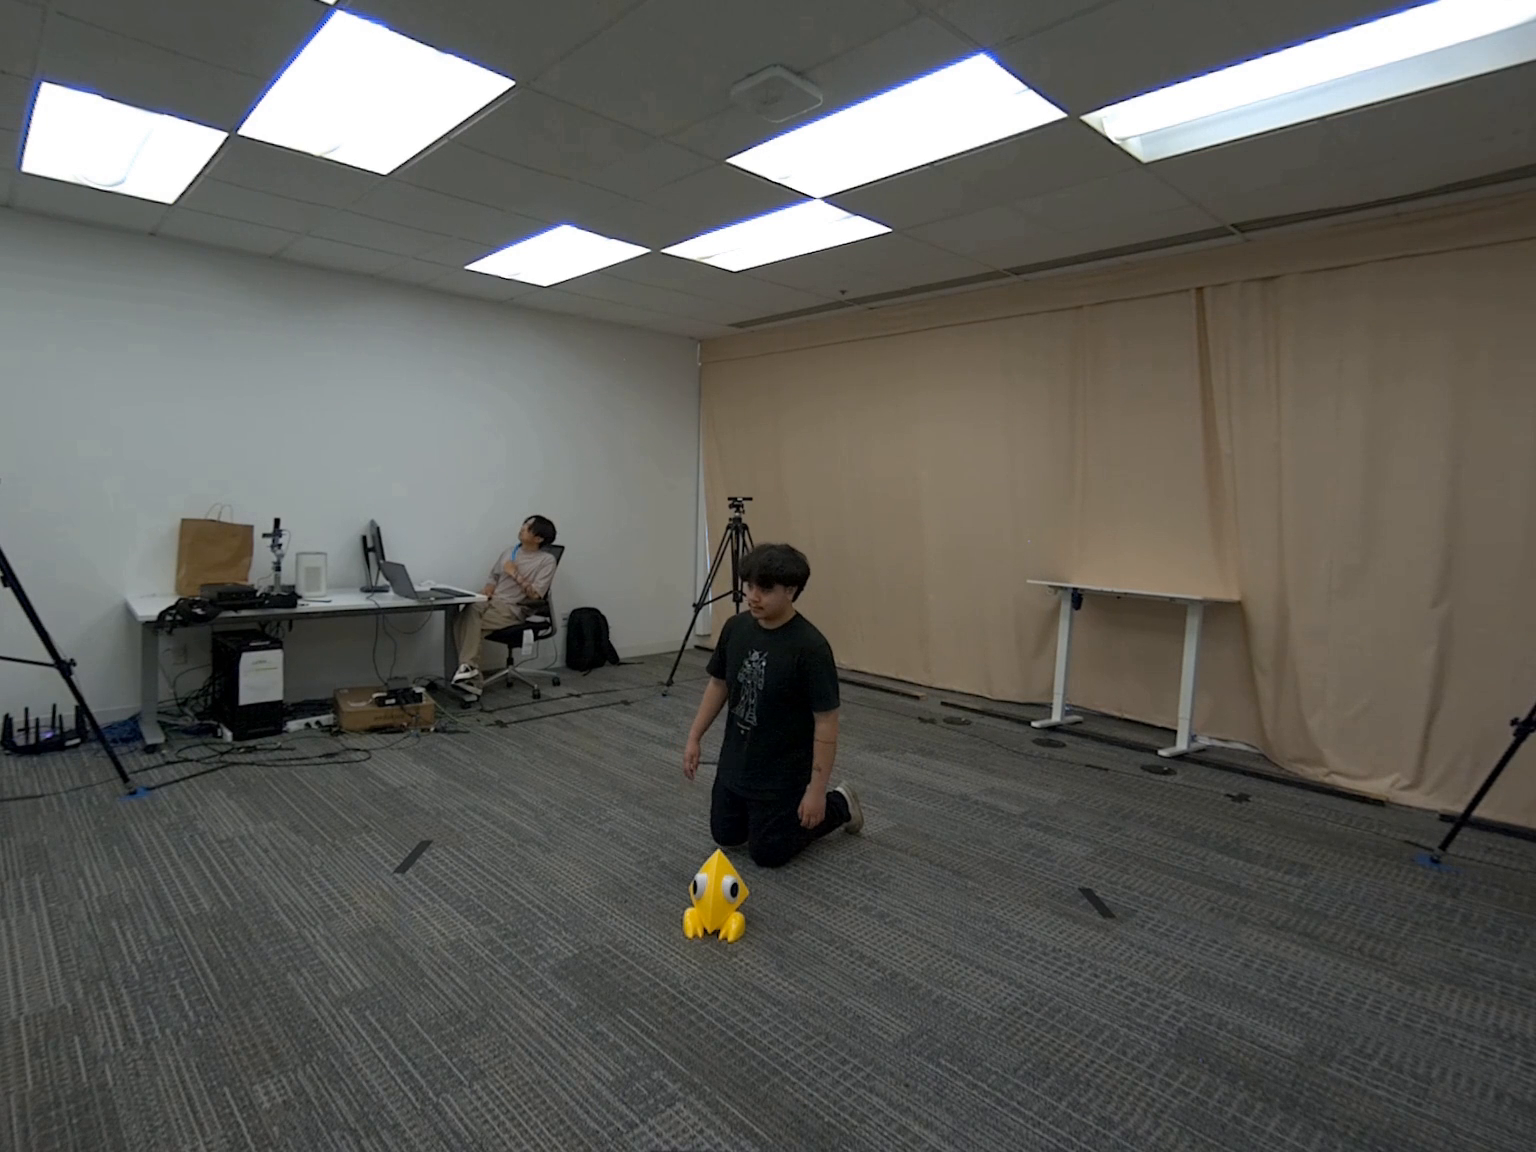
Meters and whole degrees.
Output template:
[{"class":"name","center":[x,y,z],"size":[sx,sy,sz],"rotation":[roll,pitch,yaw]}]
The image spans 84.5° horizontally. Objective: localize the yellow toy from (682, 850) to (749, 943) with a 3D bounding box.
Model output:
[{"class":"yellow toy","center":[-0.182,1.029,2.729],"size":[0.206,0.230,0.192],"rotation":[2,3,6]}]
